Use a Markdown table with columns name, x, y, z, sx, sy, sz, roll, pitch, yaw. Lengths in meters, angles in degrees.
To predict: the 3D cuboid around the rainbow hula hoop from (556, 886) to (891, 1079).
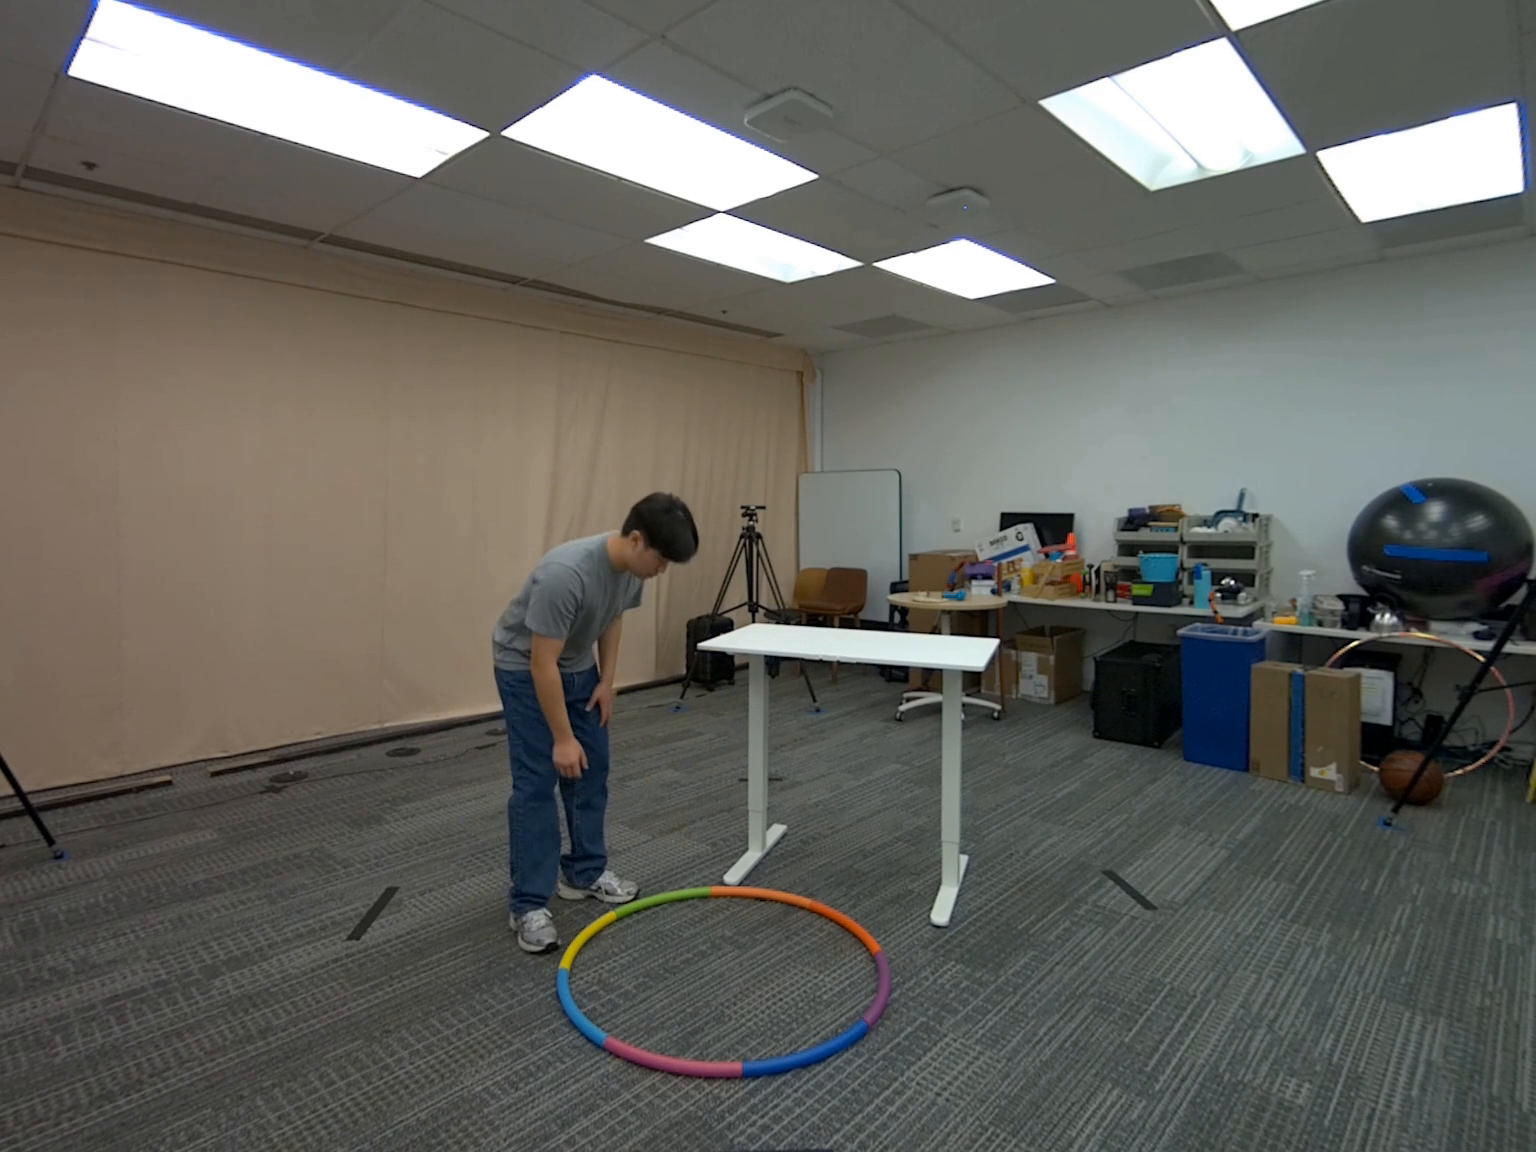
| name | x | y | z | sx | sy | sz | roll | pitch | yaw |
| --- | --- | --- | --- | --- | --- | --- | --- | --- | --- |
| rainbow hula hoop | -0.132 | 1.154 | 2.539 | 0.978 | 0.035 | 0.982 | 0 | 4 | -2 |
